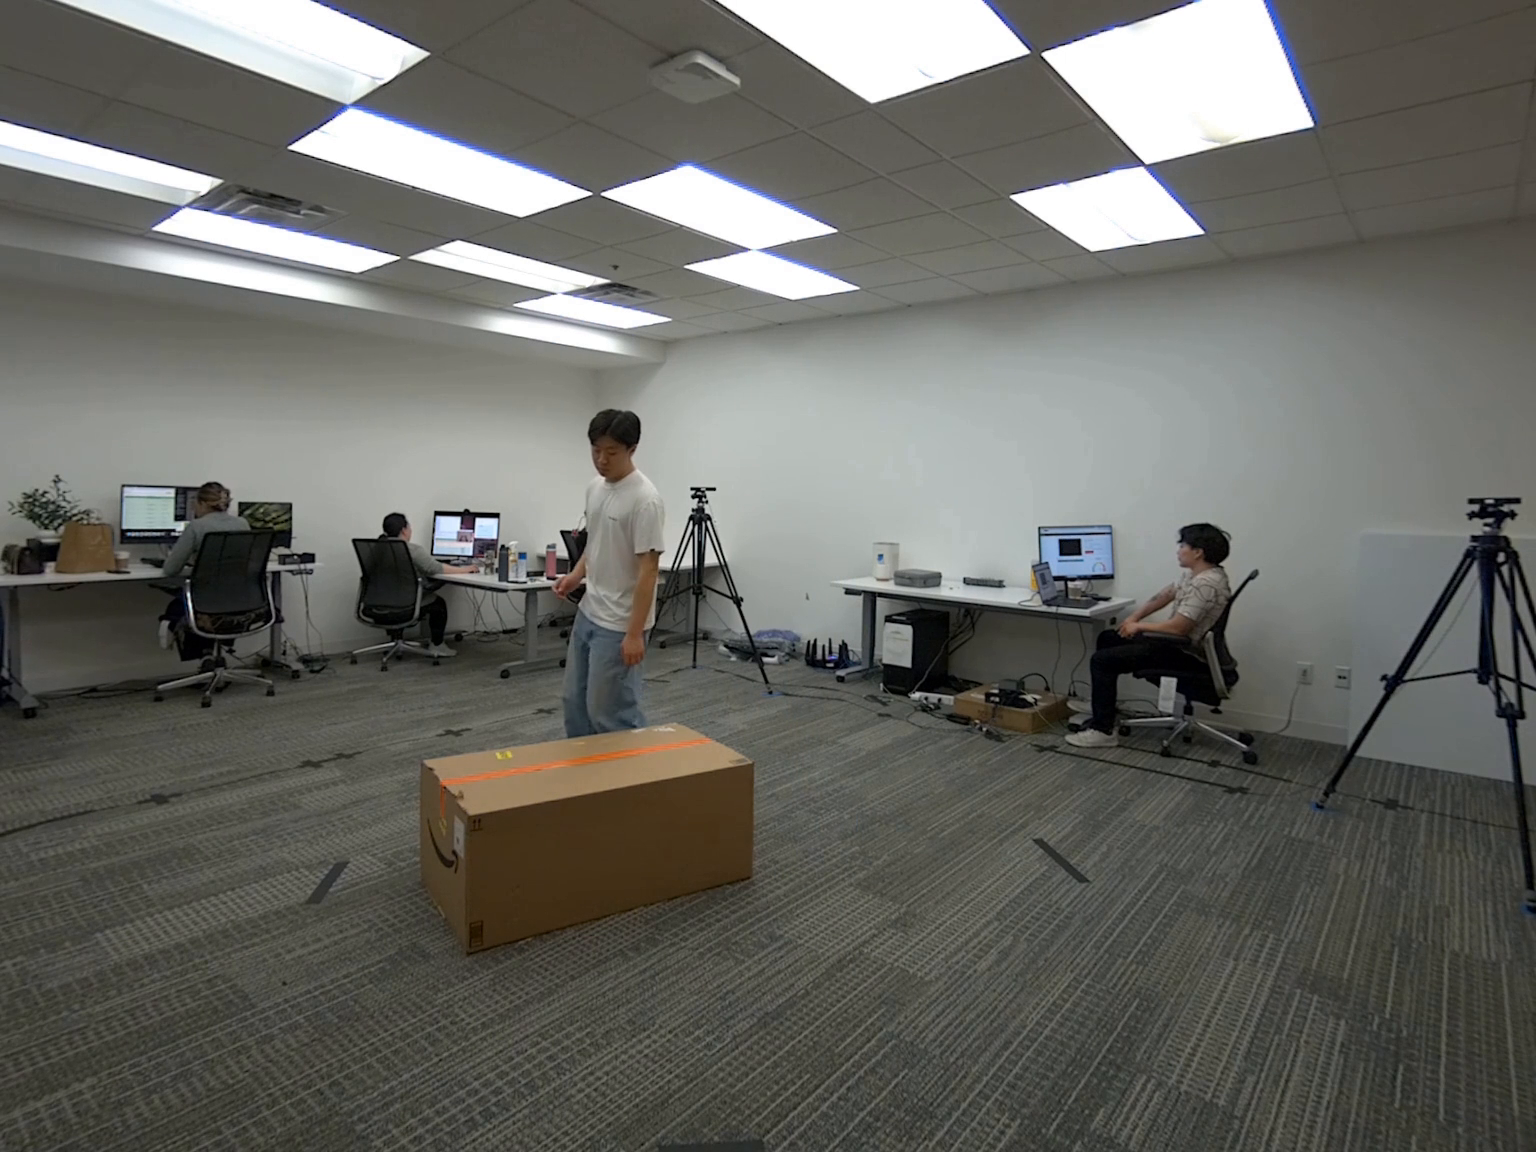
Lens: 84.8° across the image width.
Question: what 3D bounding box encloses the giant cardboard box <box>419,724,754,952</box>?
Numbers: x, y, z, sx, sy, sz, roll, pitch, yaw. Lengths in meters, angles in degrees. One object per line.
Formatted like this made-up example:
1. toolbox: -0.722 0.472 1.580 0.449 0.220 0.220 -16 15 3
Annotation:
1. giant cardboard box: -0.641 0.857 2.993 0.997 0.425 0.596 -3 5 -33
